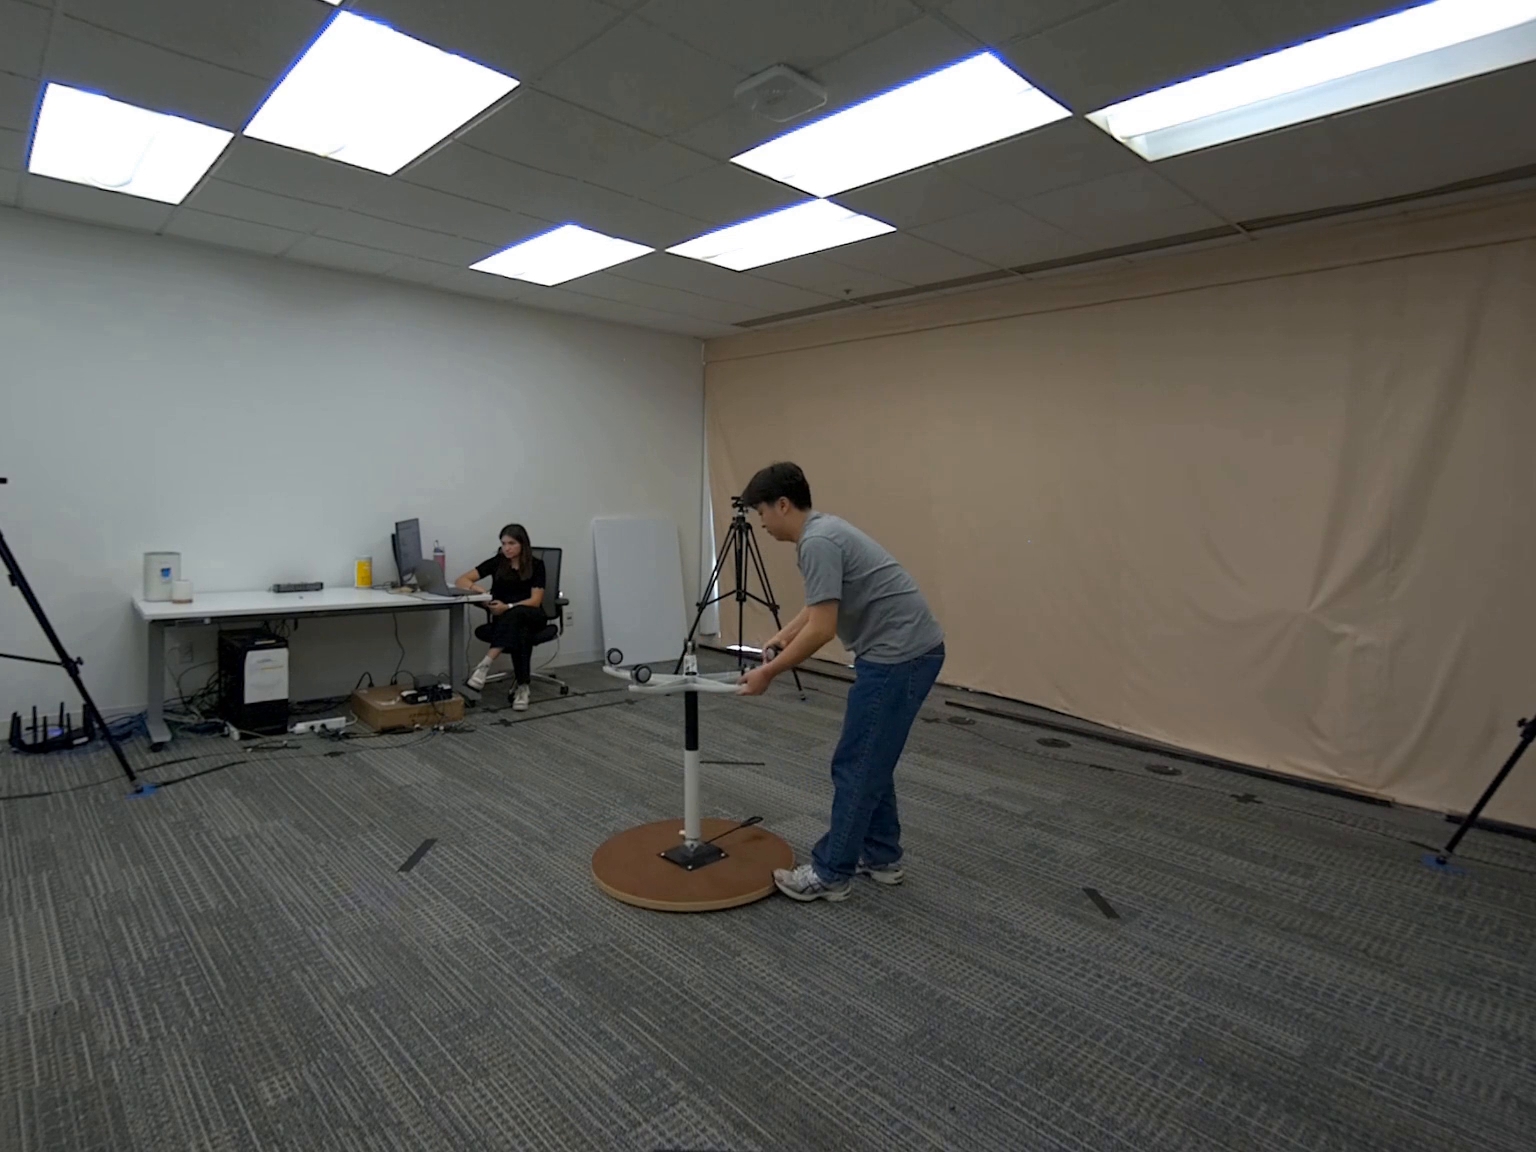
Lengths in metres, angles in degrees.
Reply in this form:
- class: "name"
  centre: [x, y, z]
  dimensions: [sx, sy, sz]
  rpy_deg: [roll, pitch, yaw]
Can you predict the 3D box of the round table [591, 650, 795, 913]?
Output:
- class: "round table"
  centre: [-0.301, 0.680, 3.179]
  dimensions: [0.763, 0.792, 0.766]
  rpy_deg: [-1, 3, -1]
